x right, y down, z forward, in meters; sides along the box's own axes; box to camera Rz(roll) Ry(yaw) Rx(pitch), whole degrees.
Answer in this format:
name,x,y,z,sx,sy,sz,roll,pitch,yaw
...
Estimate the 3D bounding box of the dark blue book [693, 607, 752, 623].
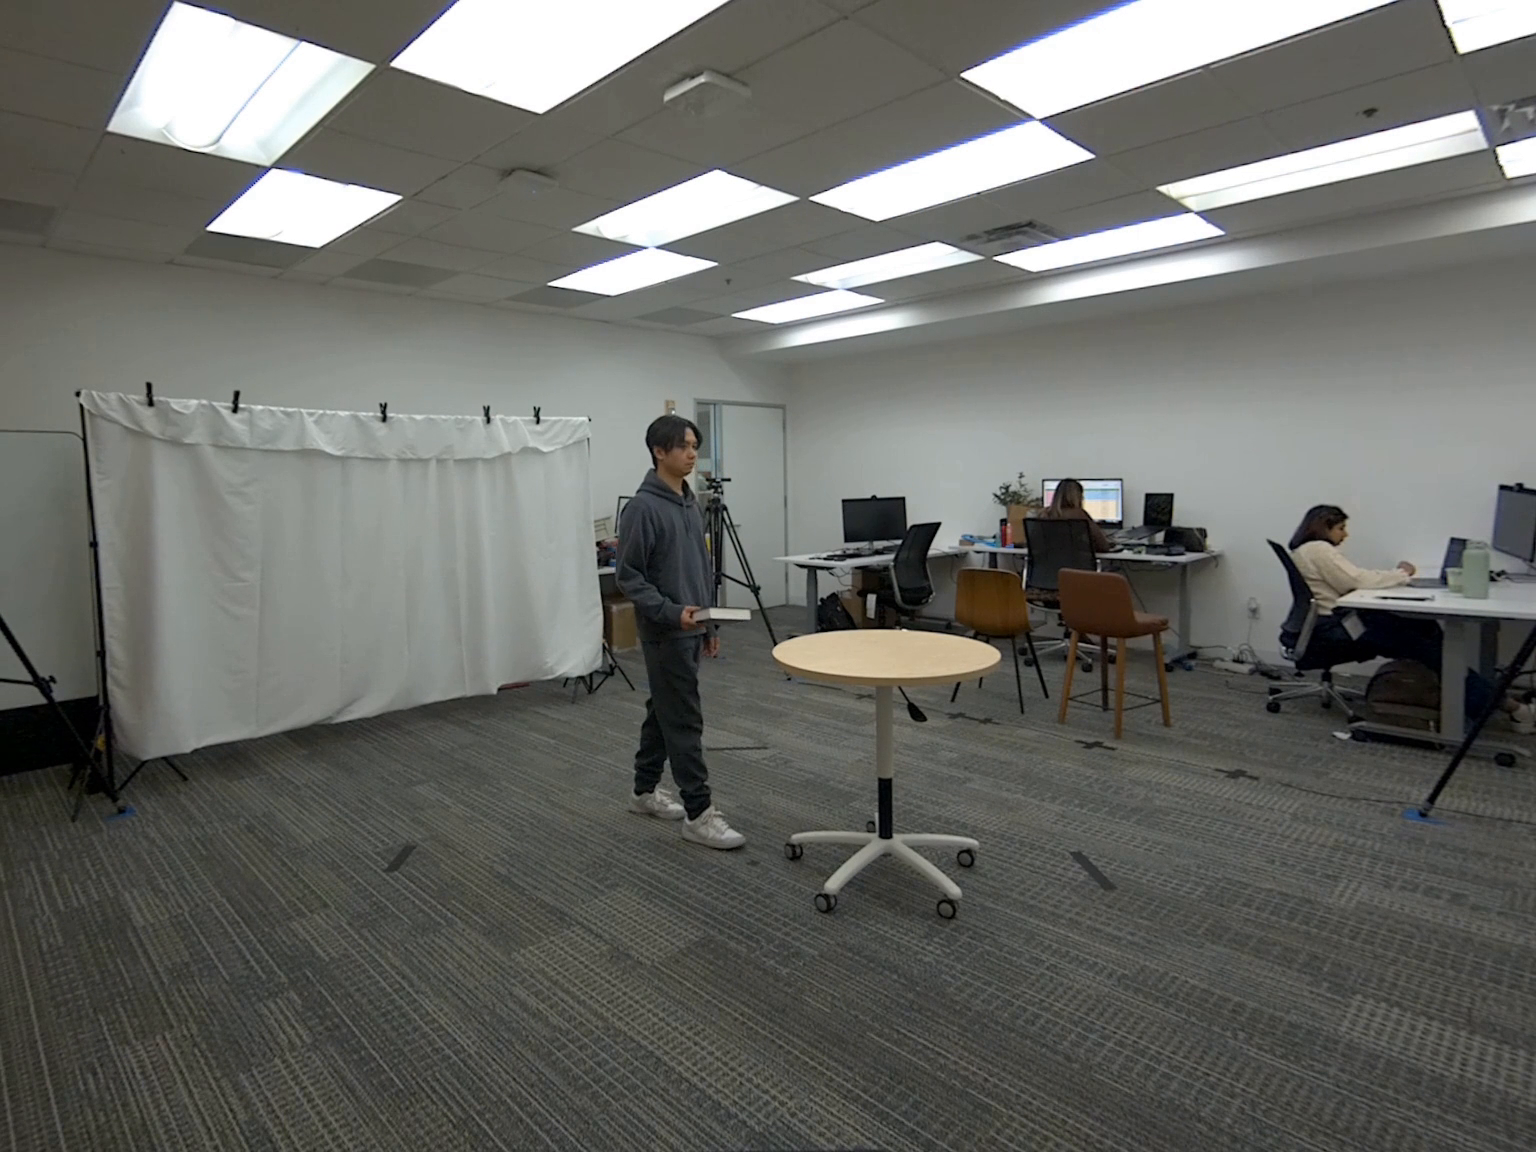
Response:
name,x,y,z,sx,sy,sz,roll,pitch,yaw
dark blue book,-0.186,0.148,3.149,0.160,0.045,0.248,1,-6,-19
